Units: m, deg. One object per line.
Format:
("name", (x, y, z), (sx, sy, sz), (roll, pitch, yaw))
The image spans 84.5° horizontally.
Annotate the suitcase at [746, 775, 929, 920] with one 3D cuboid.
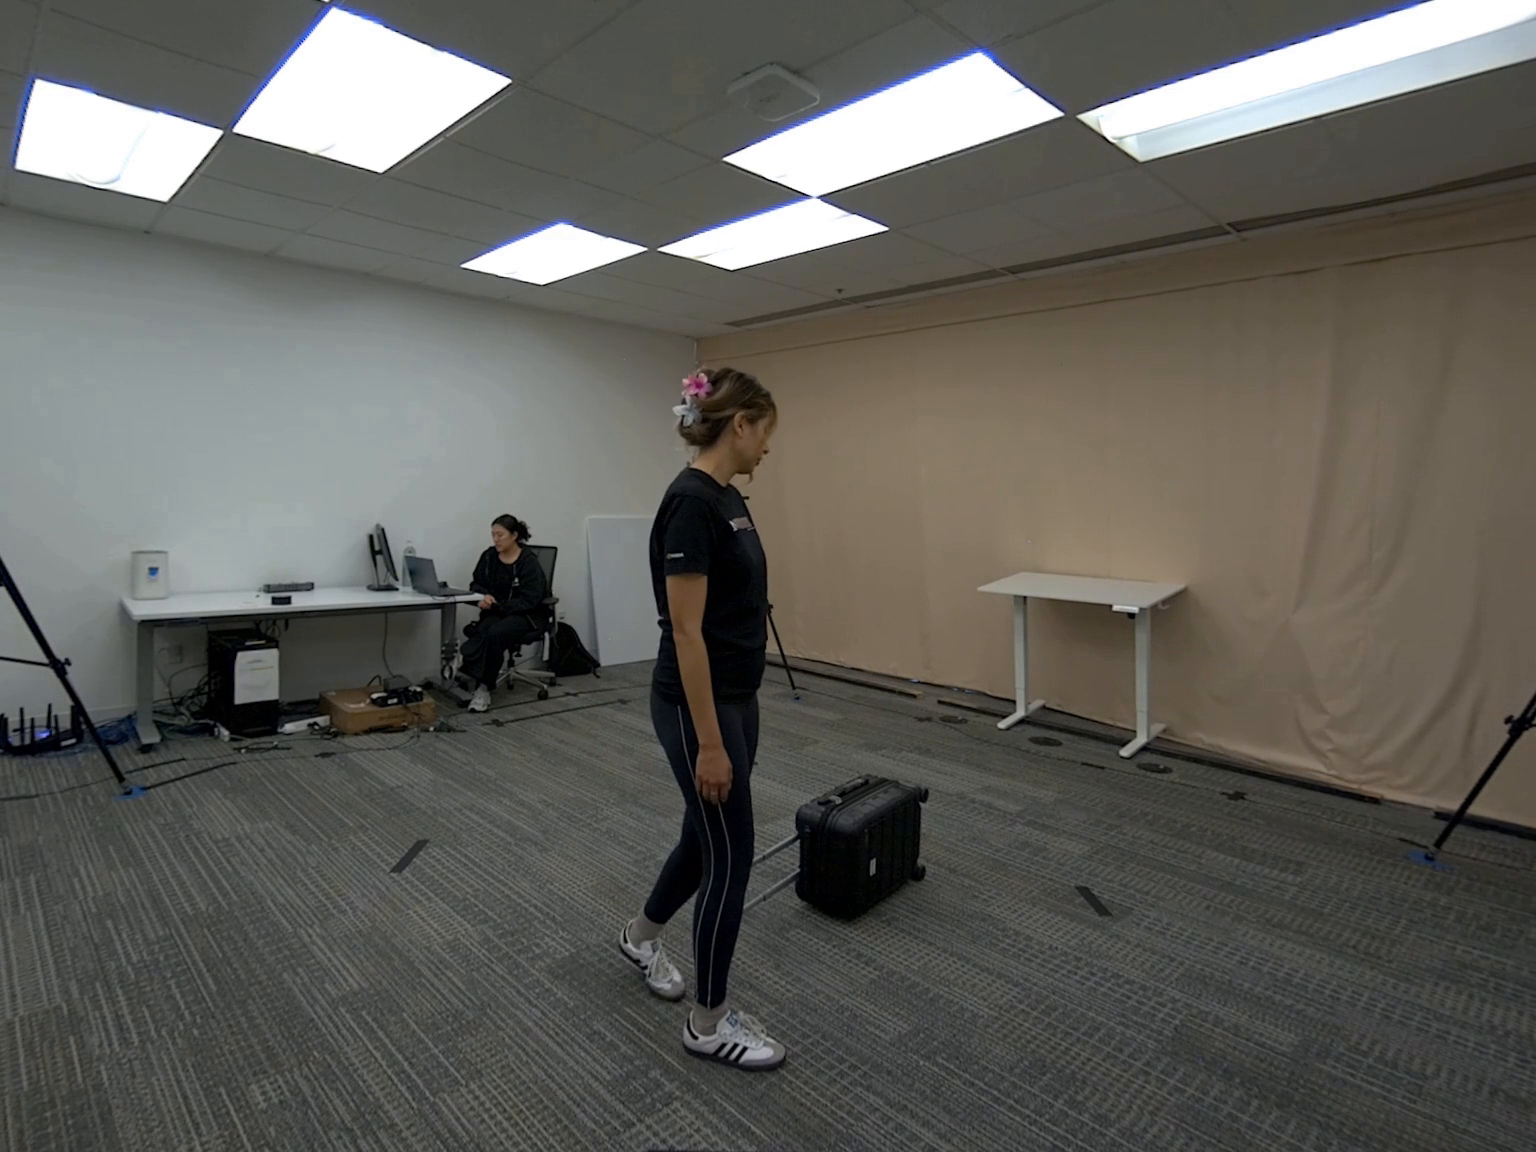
("suitcase", (0.207, 0.952, 2.811), (0.263, 0.383, 0.958), (4, 6, 36))
